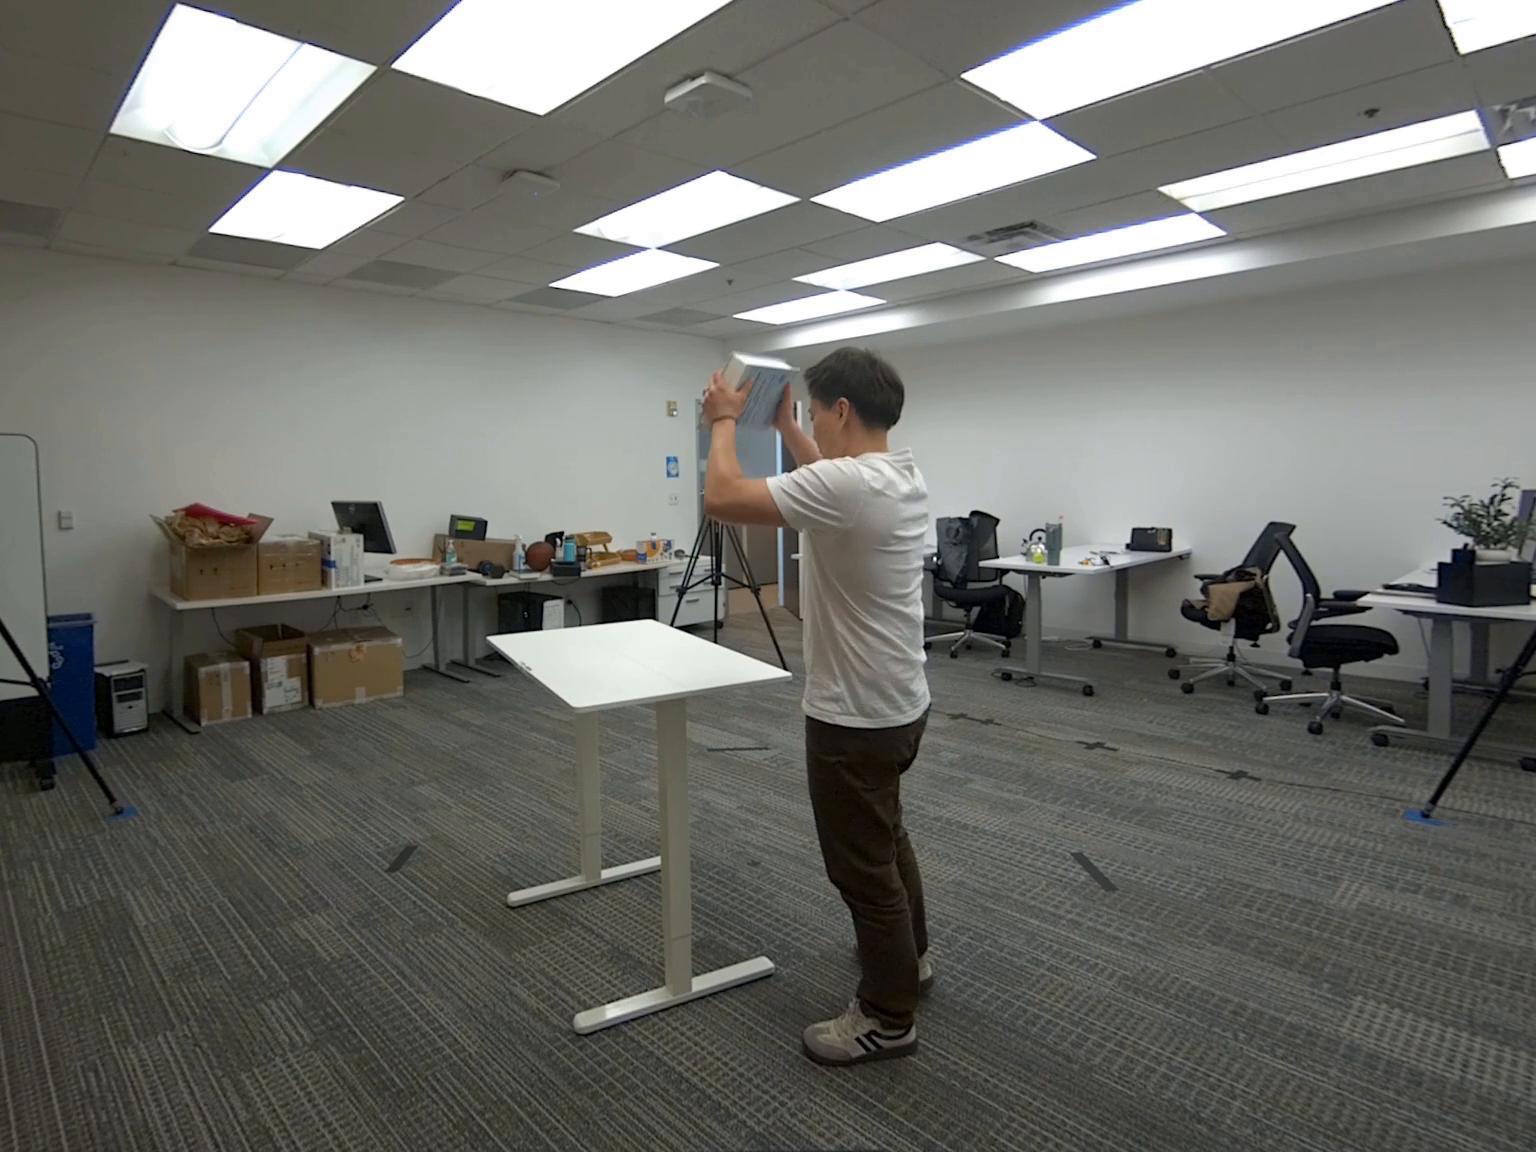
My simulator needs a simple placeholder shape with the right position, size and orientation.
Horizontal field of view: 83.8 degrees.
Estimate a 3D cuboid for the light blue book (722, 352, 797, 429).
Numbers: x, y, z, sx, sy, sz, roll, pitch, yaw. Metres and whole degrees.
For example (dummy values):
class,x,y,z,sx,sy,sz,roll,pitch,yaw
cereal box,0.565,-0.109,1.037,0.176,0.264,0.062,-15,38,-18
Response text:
class,x,y,z,sx,sy,sz,roll,pitch,yaw
light blue book,-0.030,-0.427,2.116,0.060,0.190,0.256,37,23,18
